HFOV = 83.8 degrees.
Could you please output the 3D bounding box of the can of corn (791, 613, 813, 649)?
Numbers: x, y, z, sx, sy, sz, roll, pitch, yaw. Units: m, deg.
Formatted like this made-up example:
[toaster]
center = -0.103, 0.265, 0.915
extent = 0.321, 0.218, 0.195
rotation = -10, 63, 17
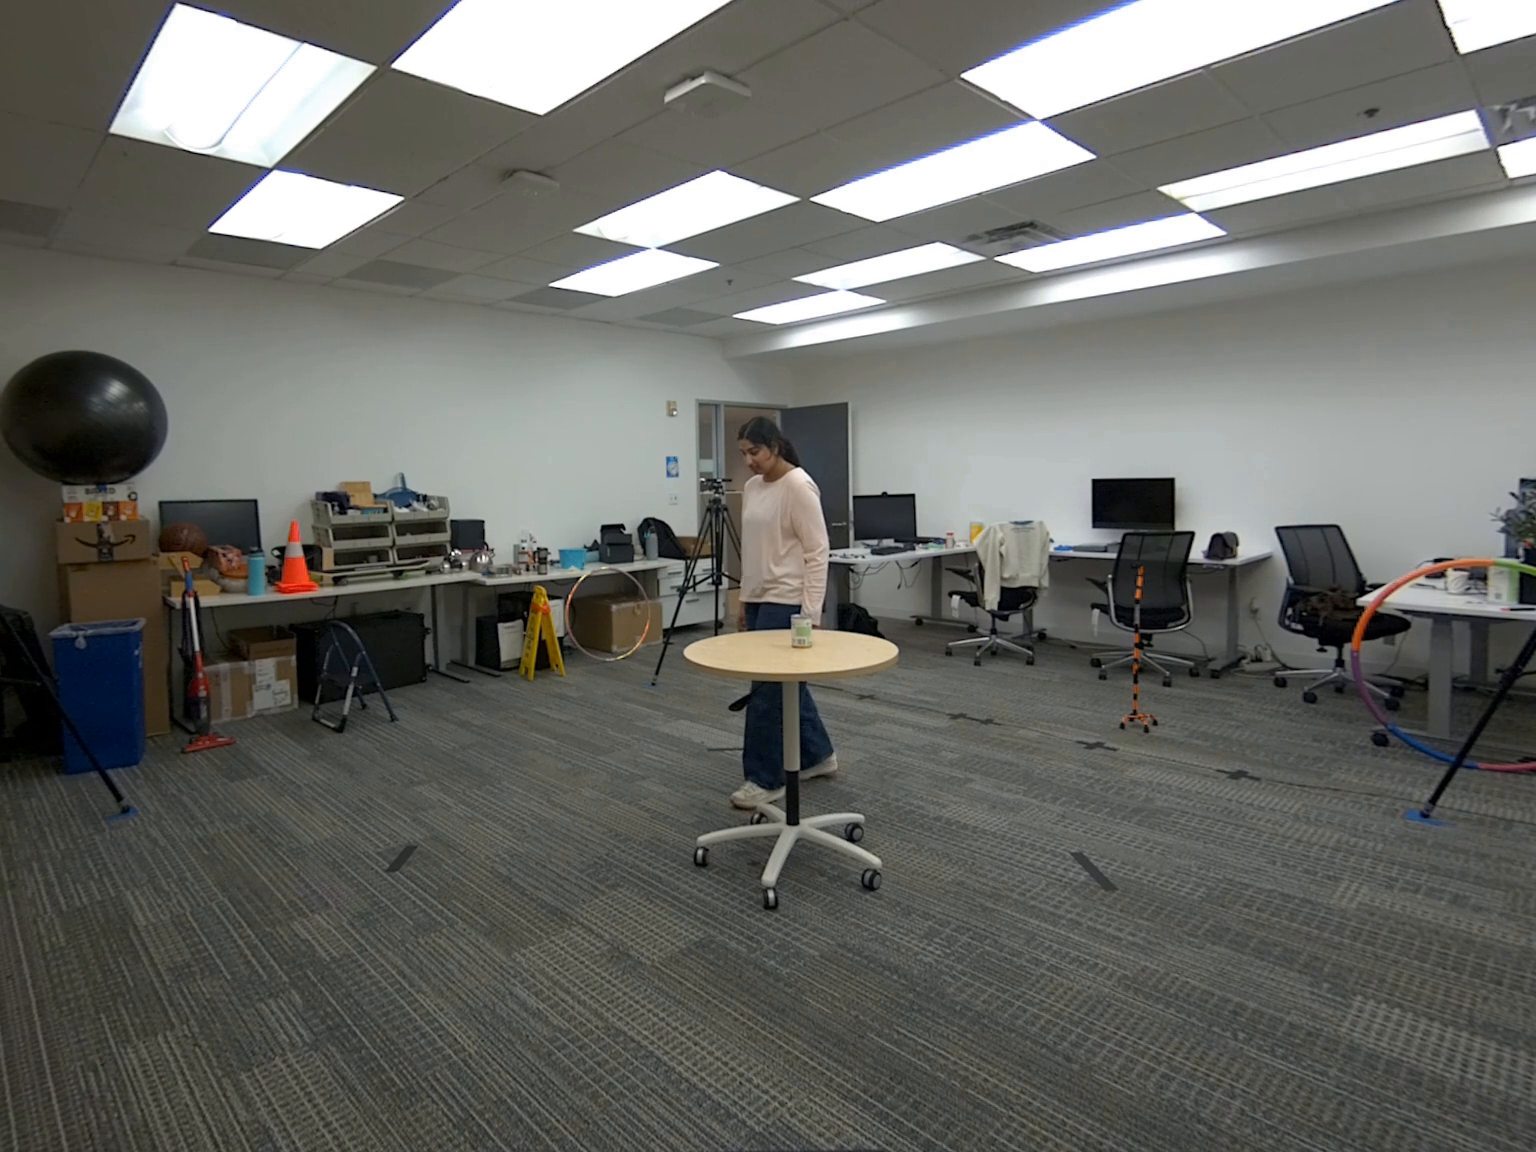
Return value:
[can of corn]
center = 0.124, 0.202, 3.102
extent = 0.074, 0.111, 0.074
rotation = -1, 4, -2
